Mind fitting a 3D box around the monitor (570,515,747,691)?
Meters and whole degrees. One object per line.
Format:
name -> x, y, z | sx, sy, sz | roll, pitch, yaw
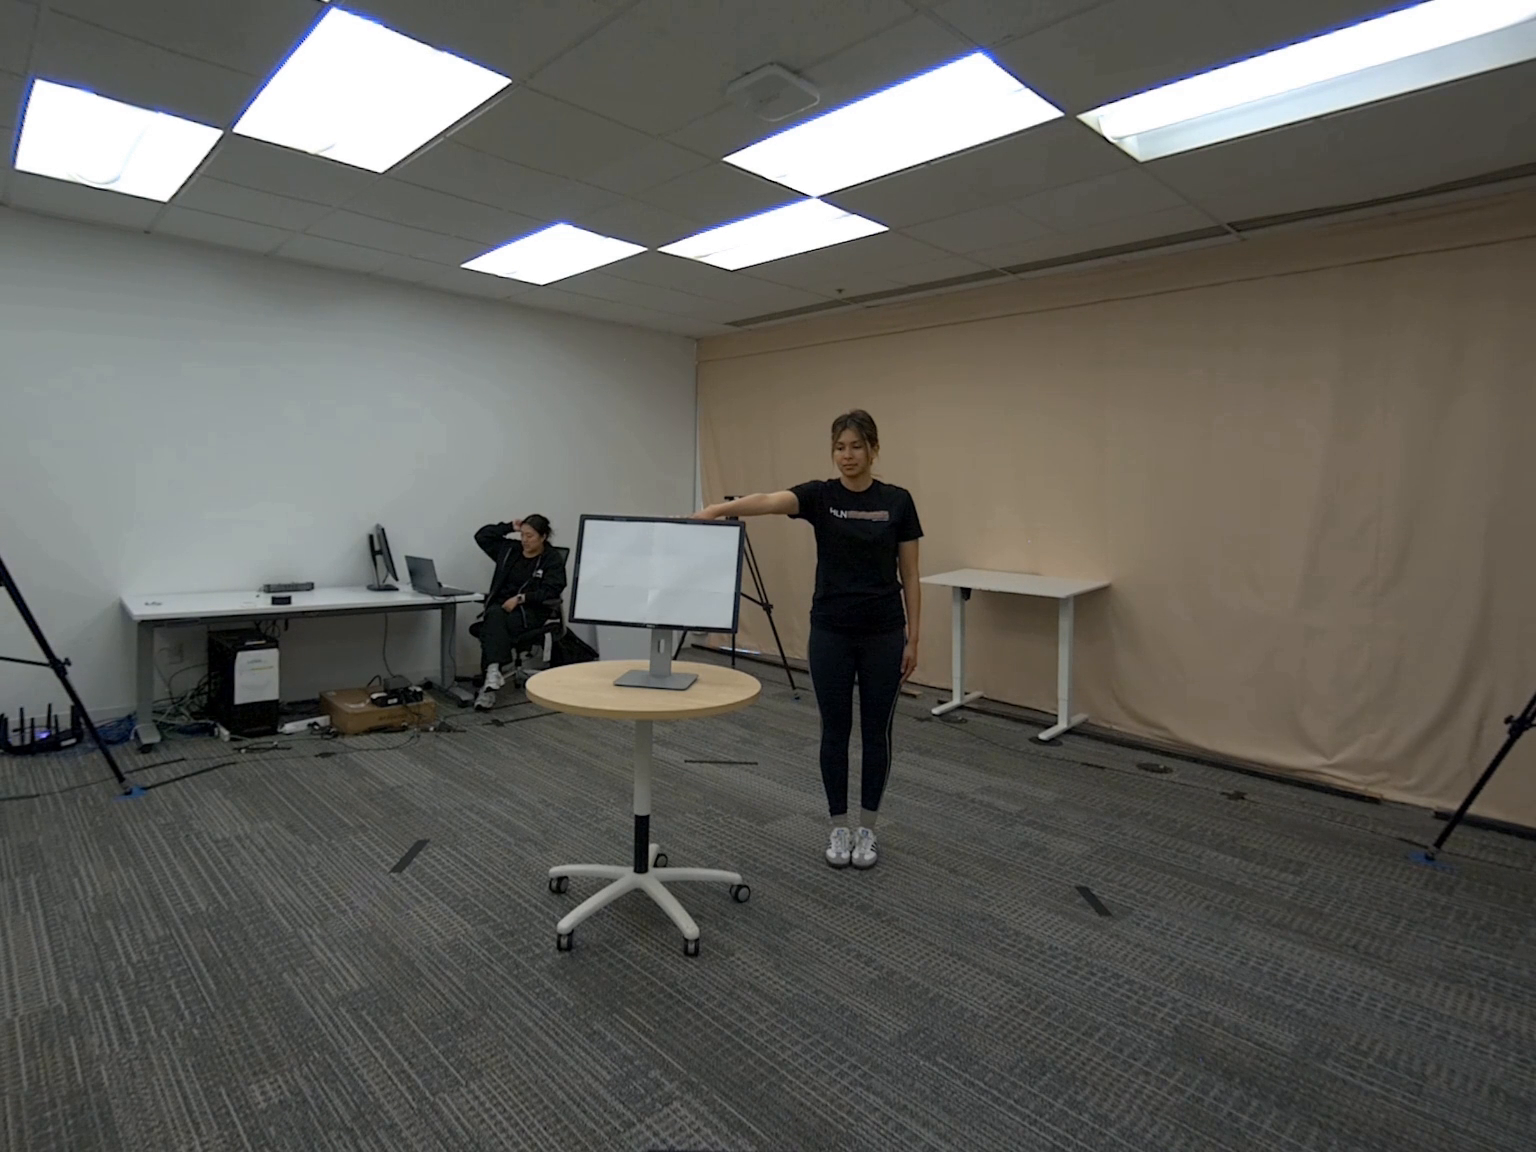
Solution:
monitor -> -0.358, 0.089, 2.768 | 0.543, 0.521, 0.186 | 3, 3, 9
